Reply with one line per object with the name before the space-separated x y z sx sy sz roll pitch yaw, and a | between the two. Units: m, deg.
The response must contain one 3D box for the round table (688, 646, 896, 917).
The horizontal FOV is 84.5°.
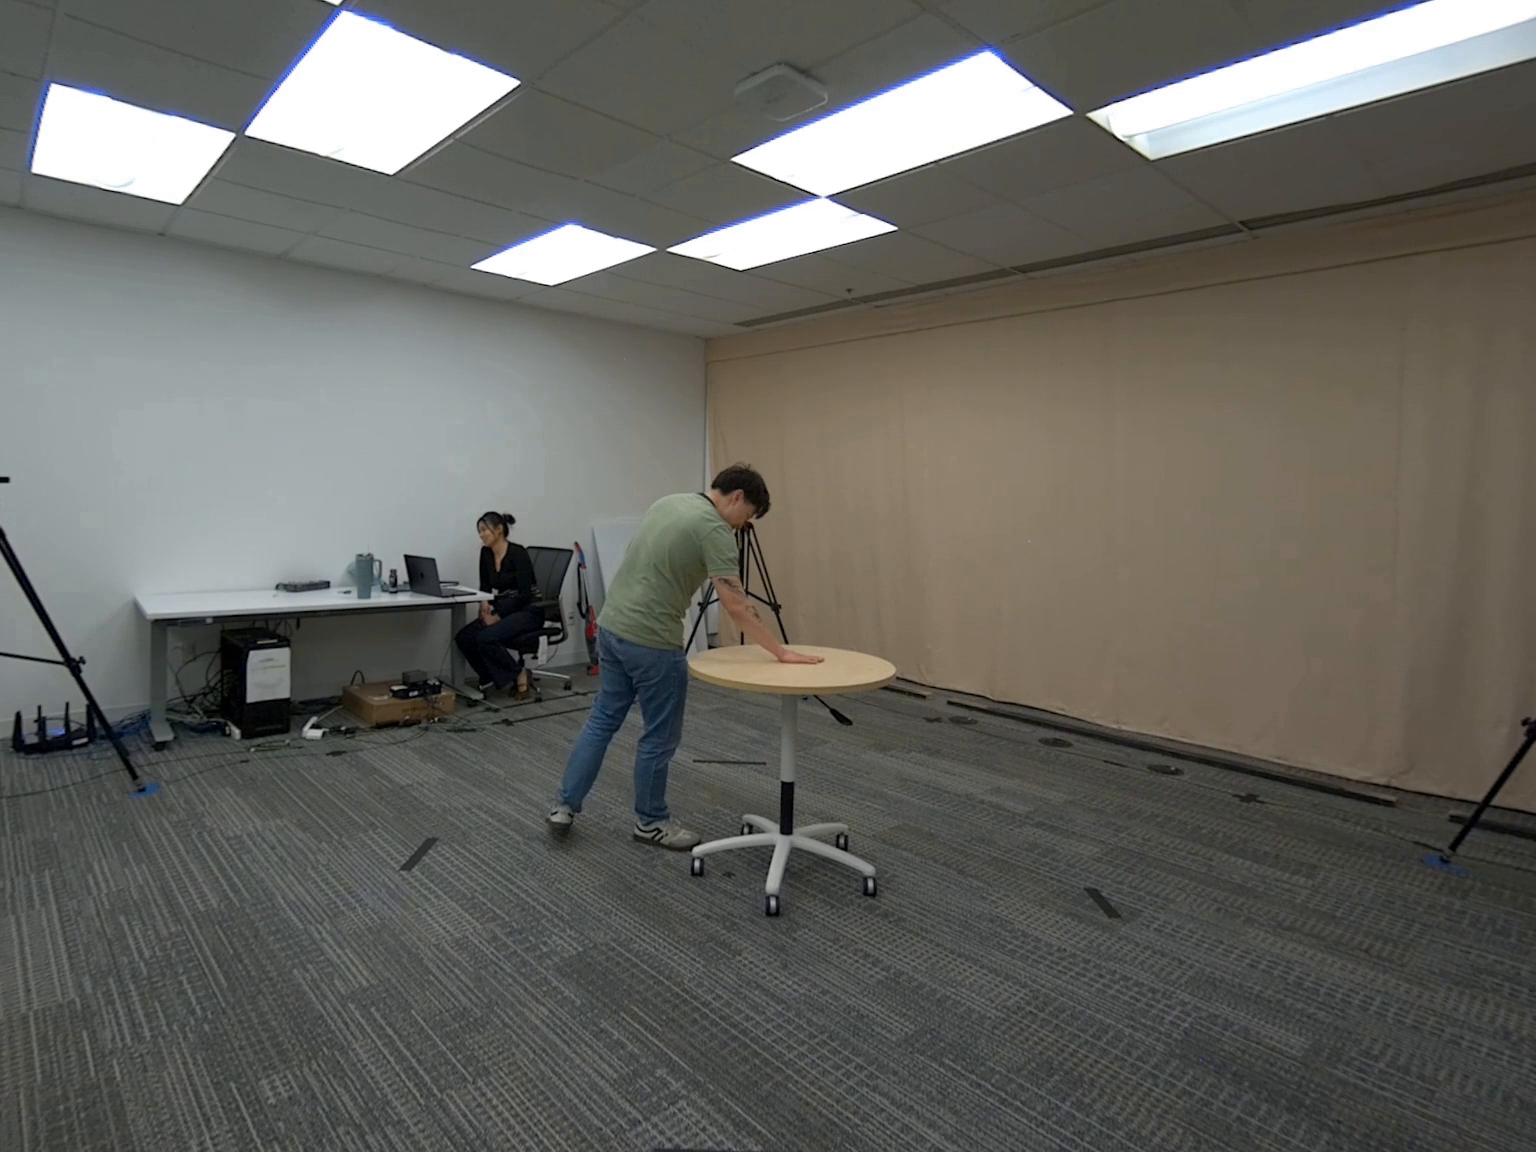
round table | 0.070 0.717 3.133 0.763 0.792 0.766 1 4 -1
